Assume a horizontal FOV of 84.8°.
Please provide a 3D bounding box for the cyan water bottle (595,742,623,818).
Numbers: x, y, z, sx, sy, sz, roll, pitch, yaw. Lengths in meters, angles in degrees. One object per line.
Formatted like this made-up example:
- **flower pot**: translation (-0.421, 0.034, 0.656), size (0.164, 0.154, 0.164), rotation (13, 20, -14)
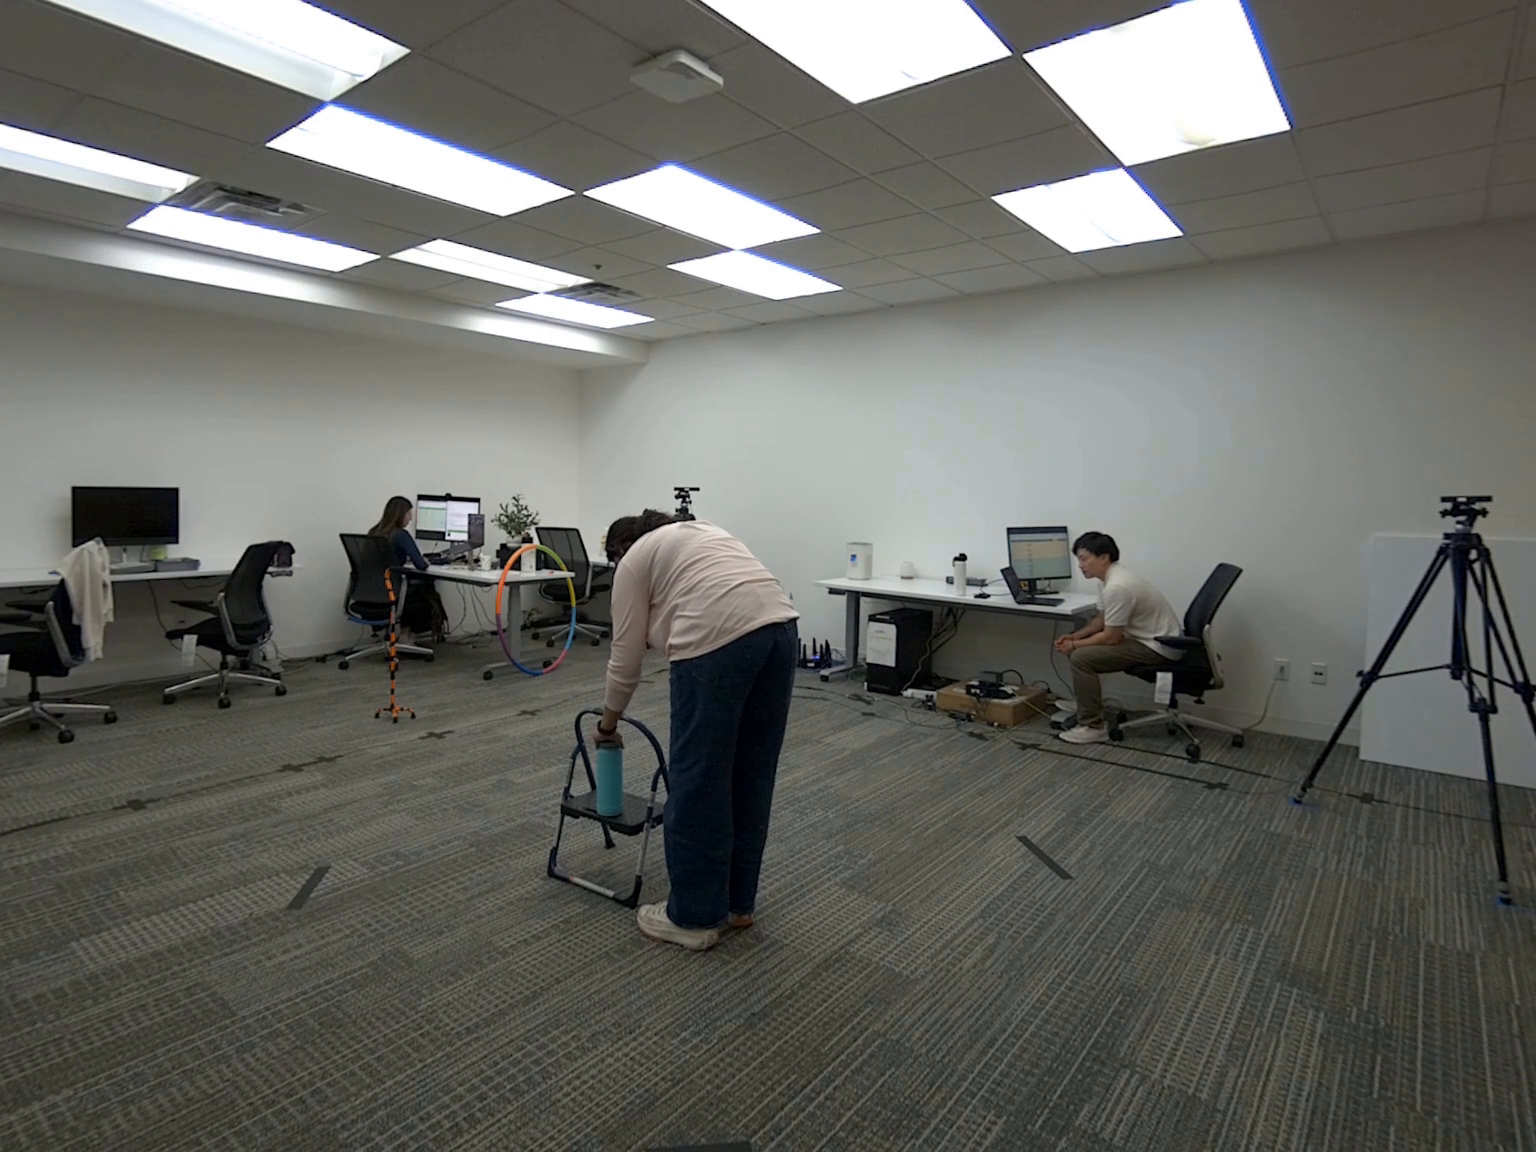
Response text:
- **cyan water bottle**: translation (-0.551, 0.682, 2.936), size (0.092, 0.282, 0.093), rotation (3, 6, -2)
